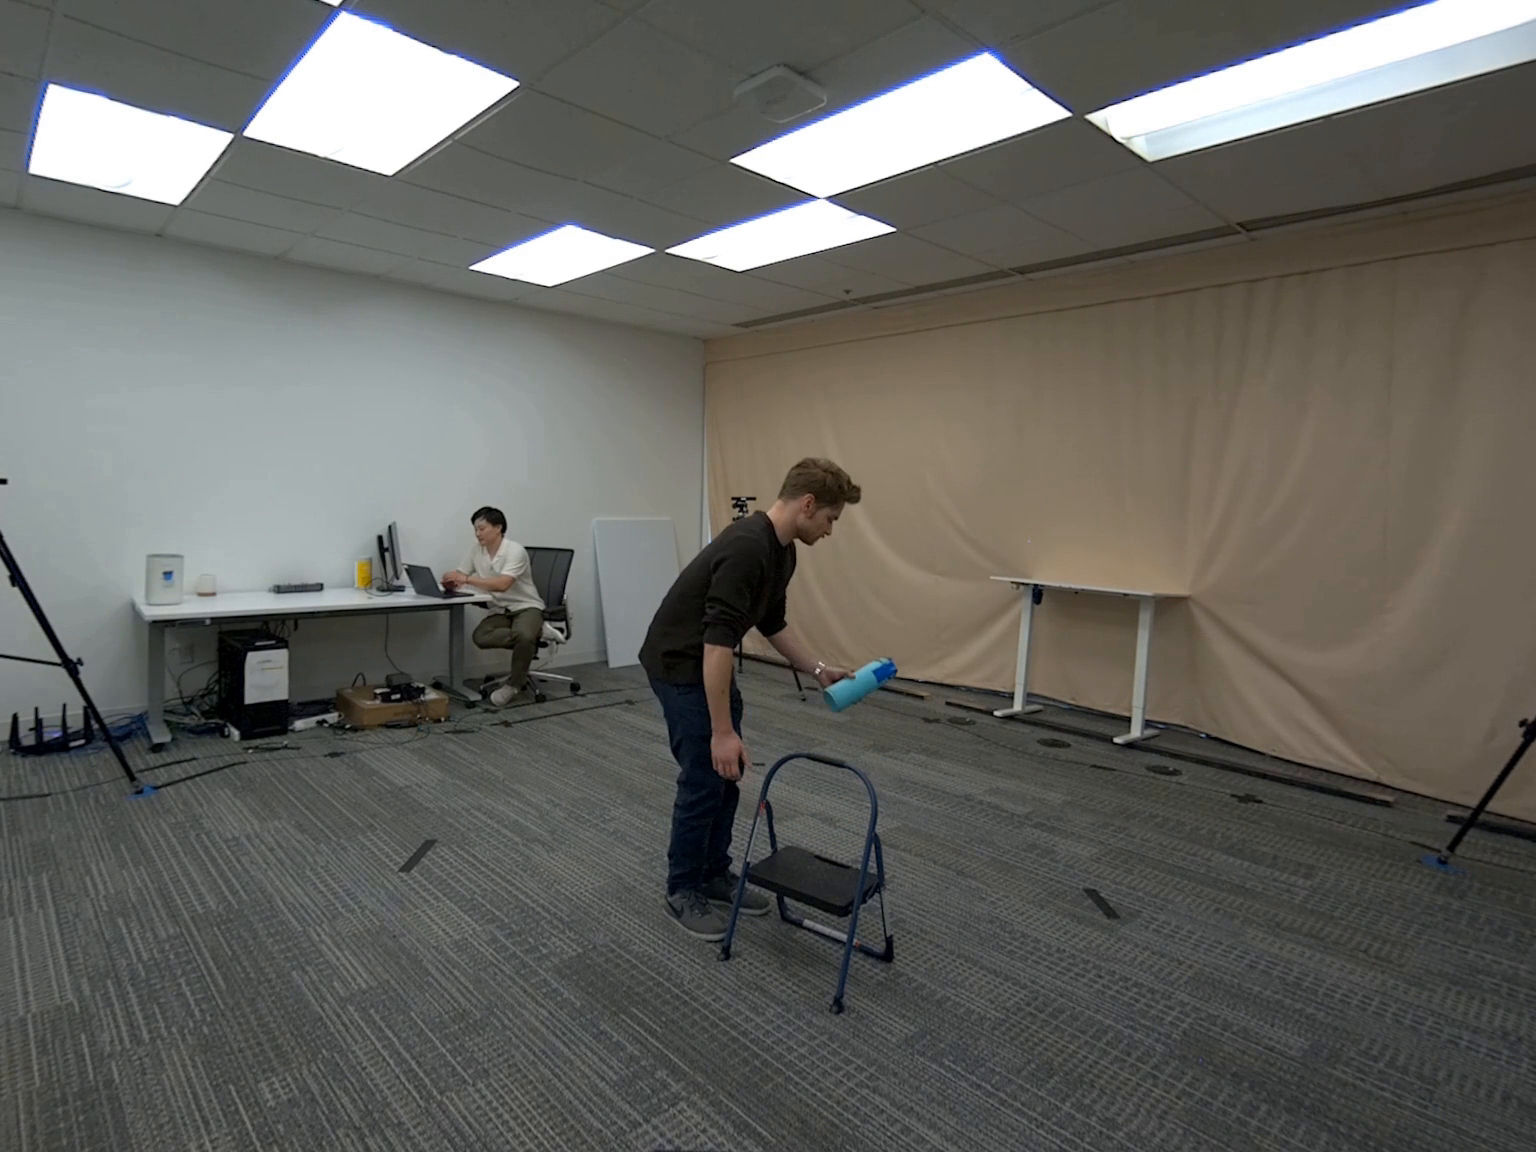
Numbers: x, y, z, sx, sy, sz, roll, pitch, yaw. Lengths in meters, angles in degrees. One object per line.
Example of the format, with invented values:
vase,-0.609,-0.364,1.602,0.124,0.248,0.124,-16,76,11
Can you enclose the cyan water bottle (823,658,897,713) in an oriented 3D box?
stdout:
cyan water bottle,0.320,0.381,2.906,0.281,0.091,0.094,-27,16,-21
